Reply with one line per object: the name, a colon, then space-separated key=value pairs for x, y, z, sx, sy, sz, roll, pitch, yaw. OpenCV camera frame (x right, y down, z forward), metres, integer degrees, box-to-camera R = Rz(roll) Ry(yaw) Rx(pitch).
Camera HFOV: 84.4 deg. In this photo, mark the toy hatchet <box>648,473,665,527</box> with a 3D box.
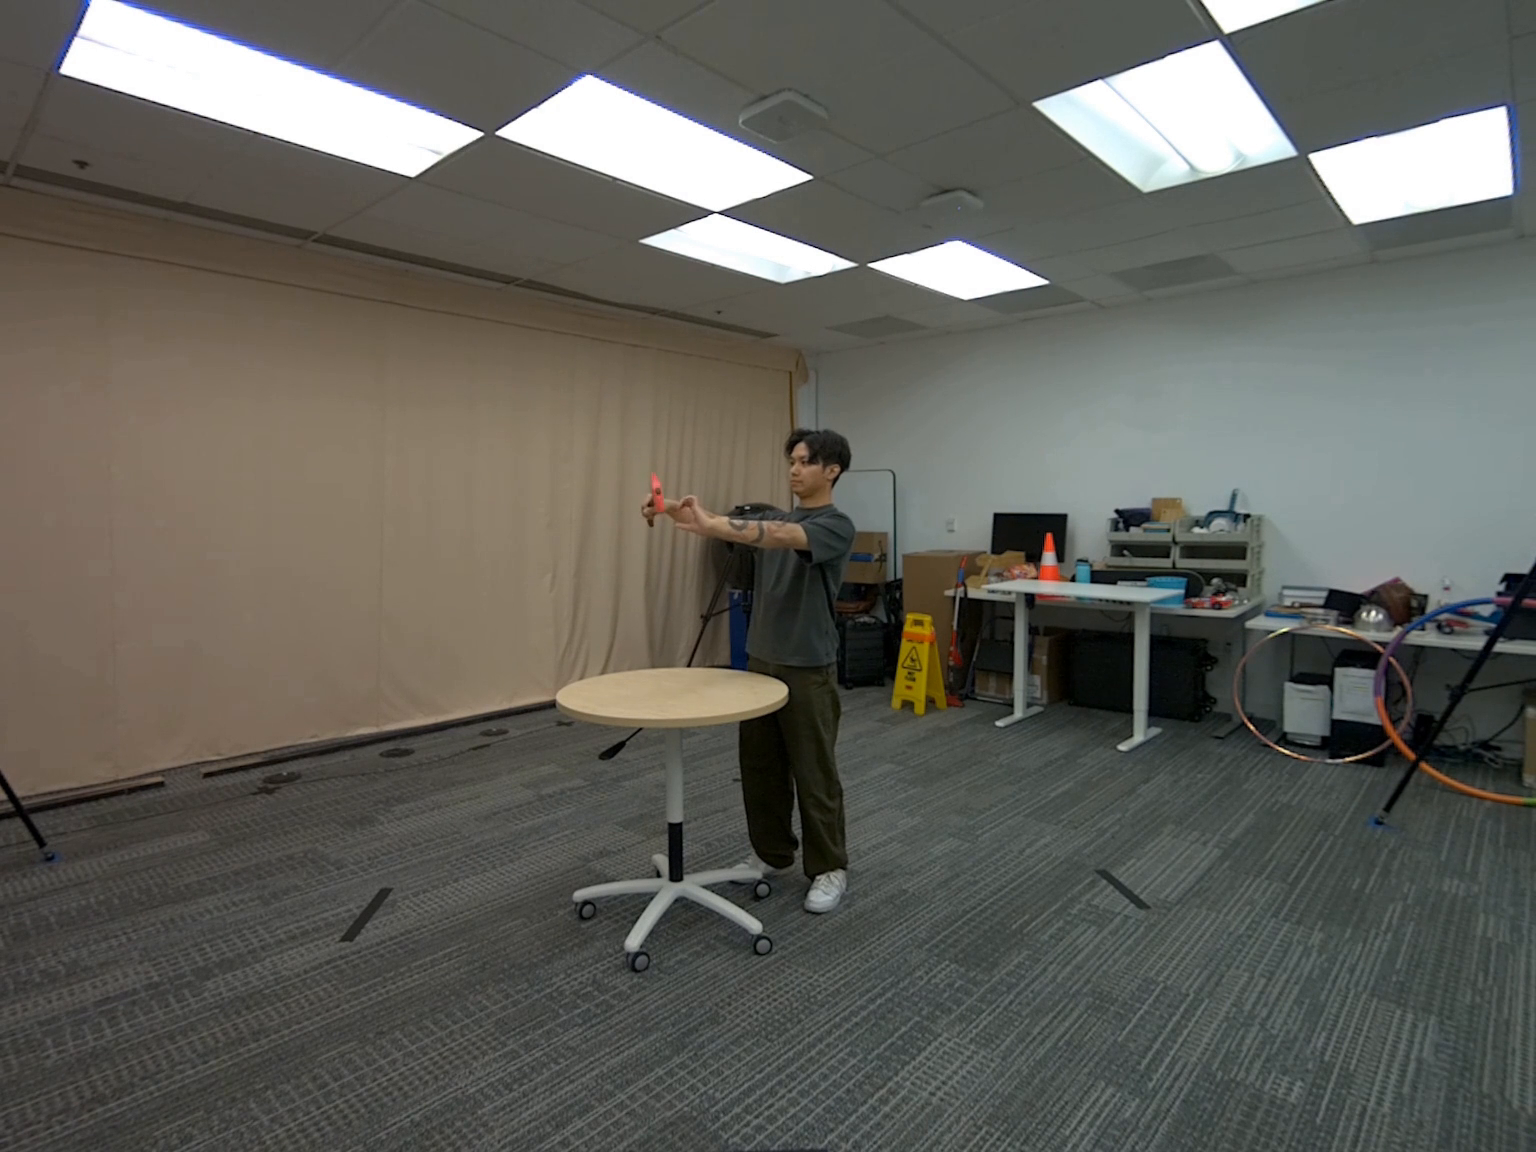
toy hatchet: x=-0.367 y=-0.219 z=2.811 sx=0.029 sy=0.134 sz=0.267 roll=-16 pitch=-27 yaw=-16
